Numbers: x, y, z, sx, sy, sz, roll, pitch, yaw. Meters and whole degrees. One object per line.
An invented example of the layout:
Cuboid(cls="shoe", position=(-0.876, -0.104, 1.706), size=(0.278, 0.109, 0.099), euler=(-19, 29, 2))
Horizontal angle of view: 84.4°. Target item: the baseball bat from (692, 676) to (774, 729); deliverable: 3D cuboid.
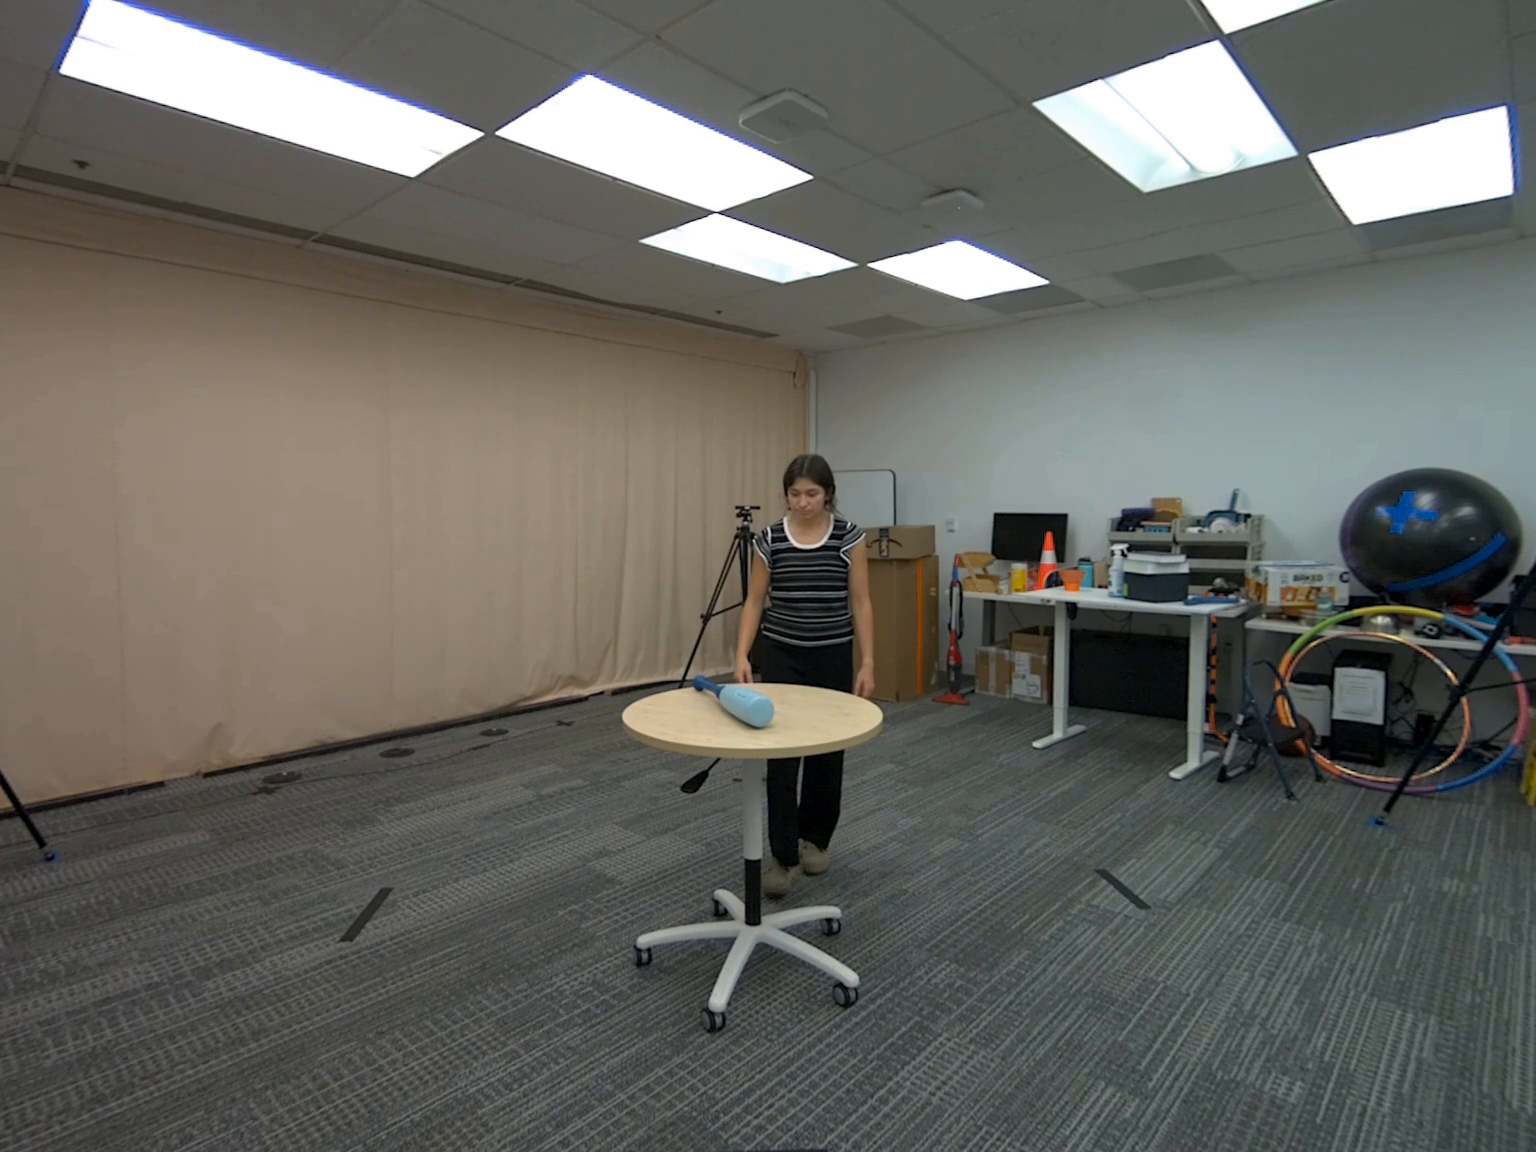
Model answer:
Cuboid(cls="baseball bat", position=(-0.125, 0.364, 2.535), size=(0.087, 0.089, 0.556), euler=(-1, 2, -24))
